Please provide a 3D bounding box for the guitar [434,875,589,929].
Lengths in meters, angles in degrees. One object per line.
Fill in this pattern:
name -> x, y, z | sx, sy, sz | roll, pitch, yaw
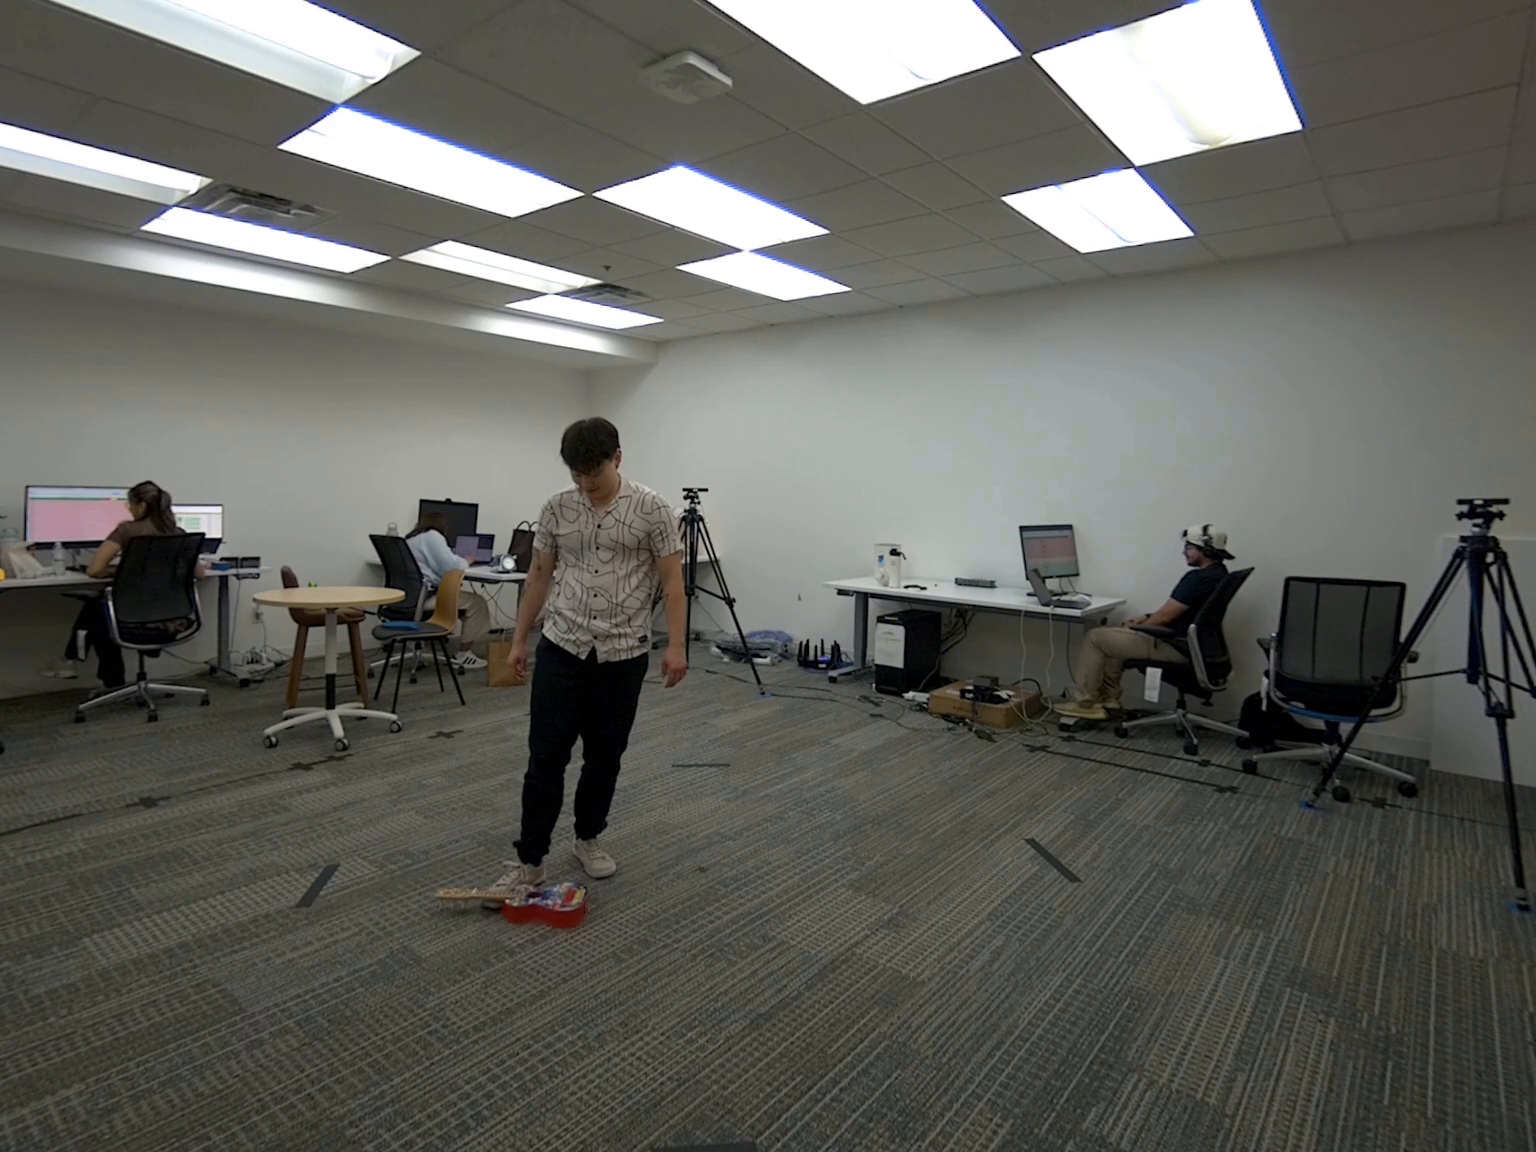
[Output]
guitar -> -0.850, 1.056, 2.797 | 0.503, 0.070, 0.192 | 2, 6, 9
